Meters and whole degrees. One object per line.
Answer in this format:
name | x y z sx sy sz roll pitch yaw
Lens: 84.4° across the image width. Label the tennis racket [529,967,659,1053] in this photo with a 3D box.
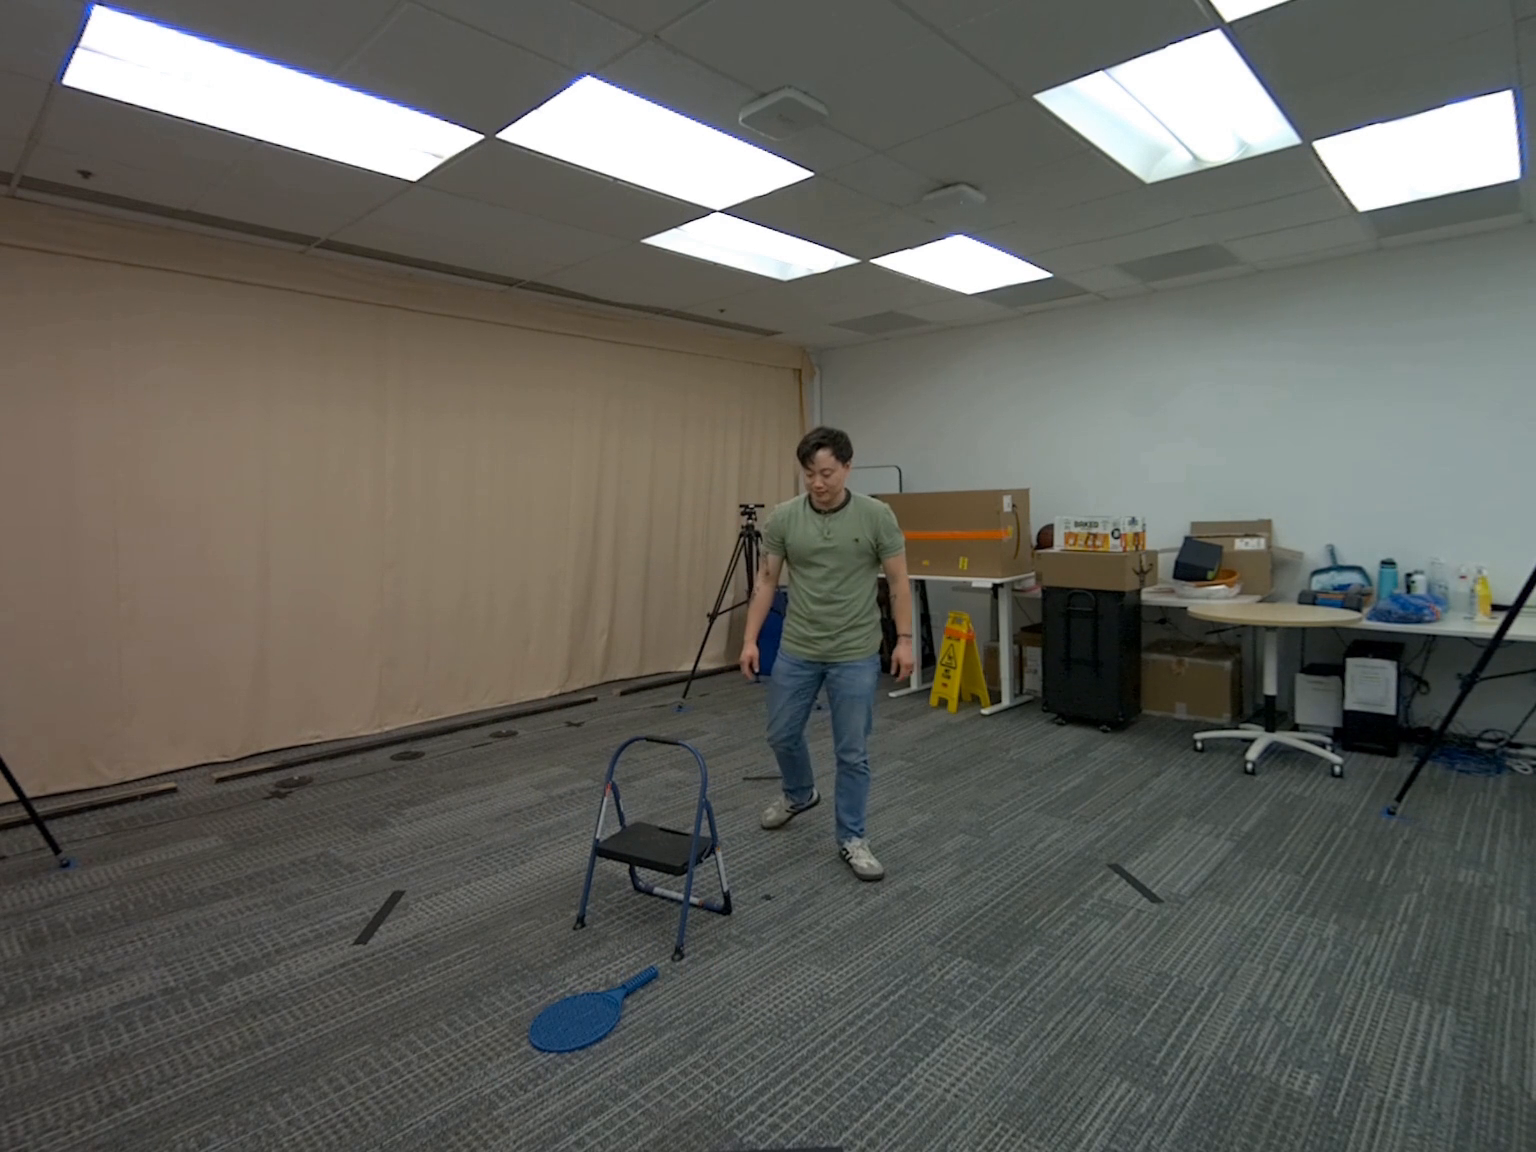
tennis racket | -0.464 1.187 2.335 0.221 0.031 0.420 3 8 41
